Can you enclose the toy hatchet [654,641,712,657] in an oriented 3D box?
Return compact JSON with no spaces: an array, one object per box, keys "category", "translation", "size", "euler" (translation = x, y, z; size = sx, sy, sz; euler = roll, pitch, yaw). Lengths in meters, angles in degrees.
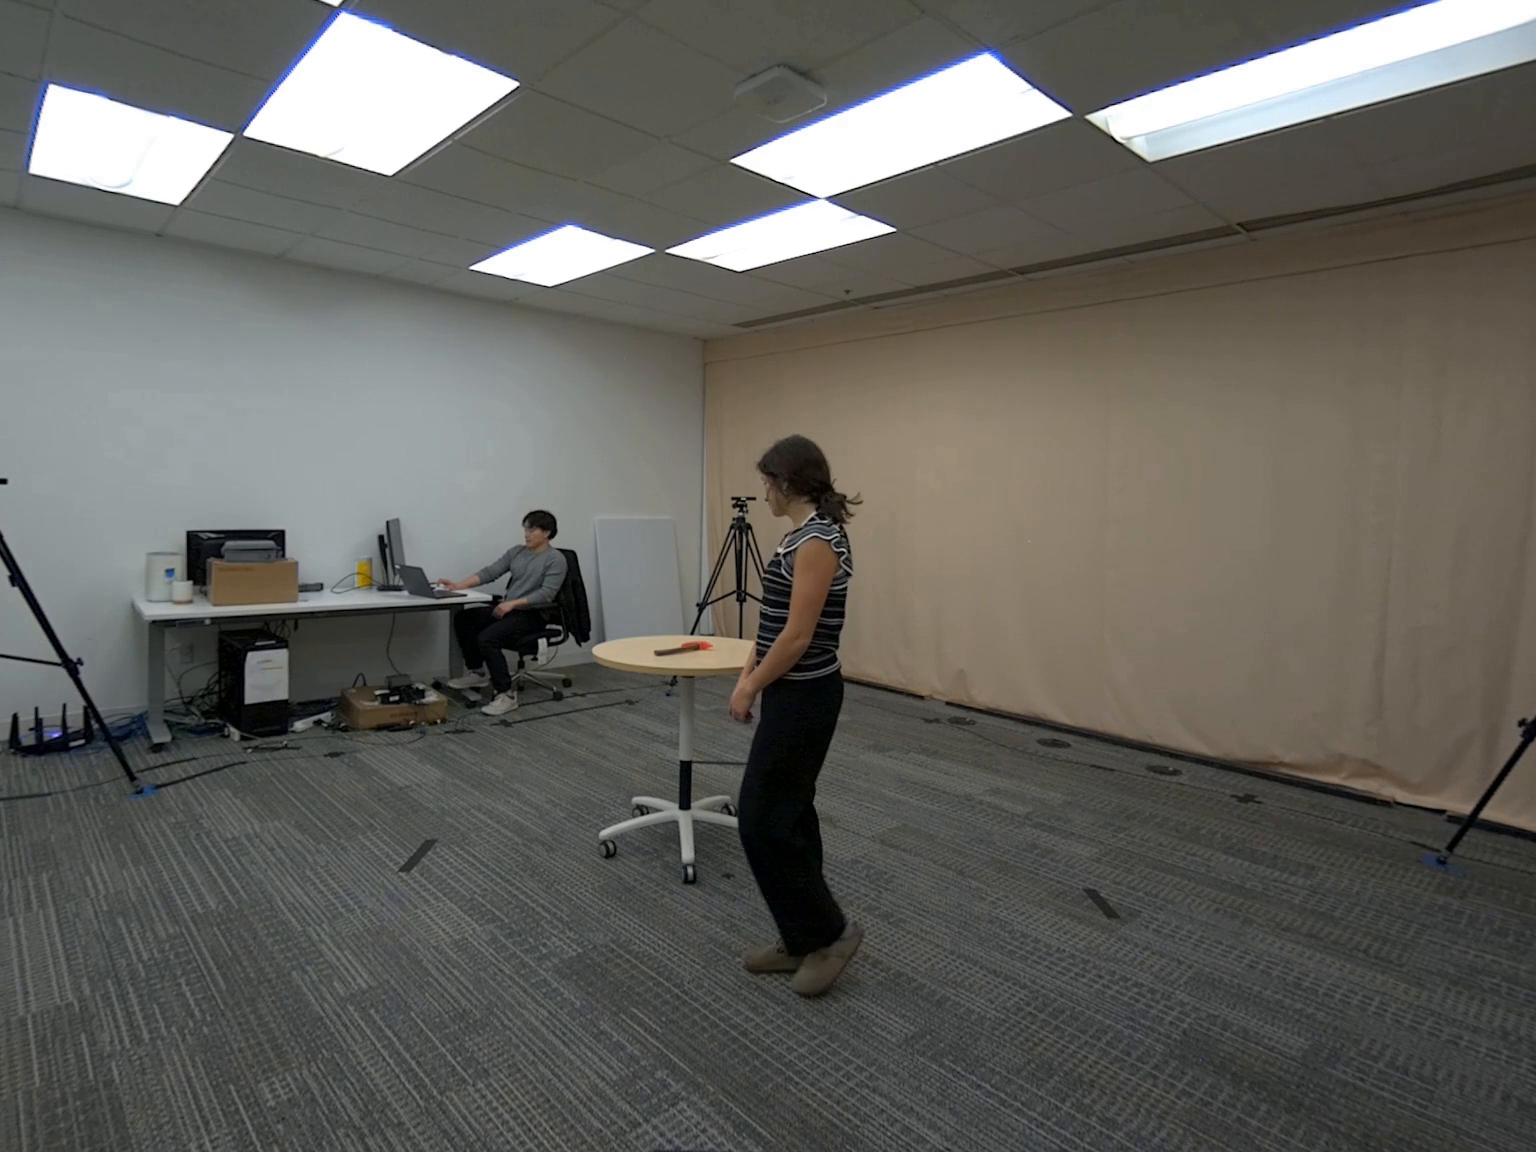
[{"category":"toy hatchet","translation":[-0.368,0.284,3.327],"size":[0.264,0.029,0.134],"euler":[-4,6,-40]}]
